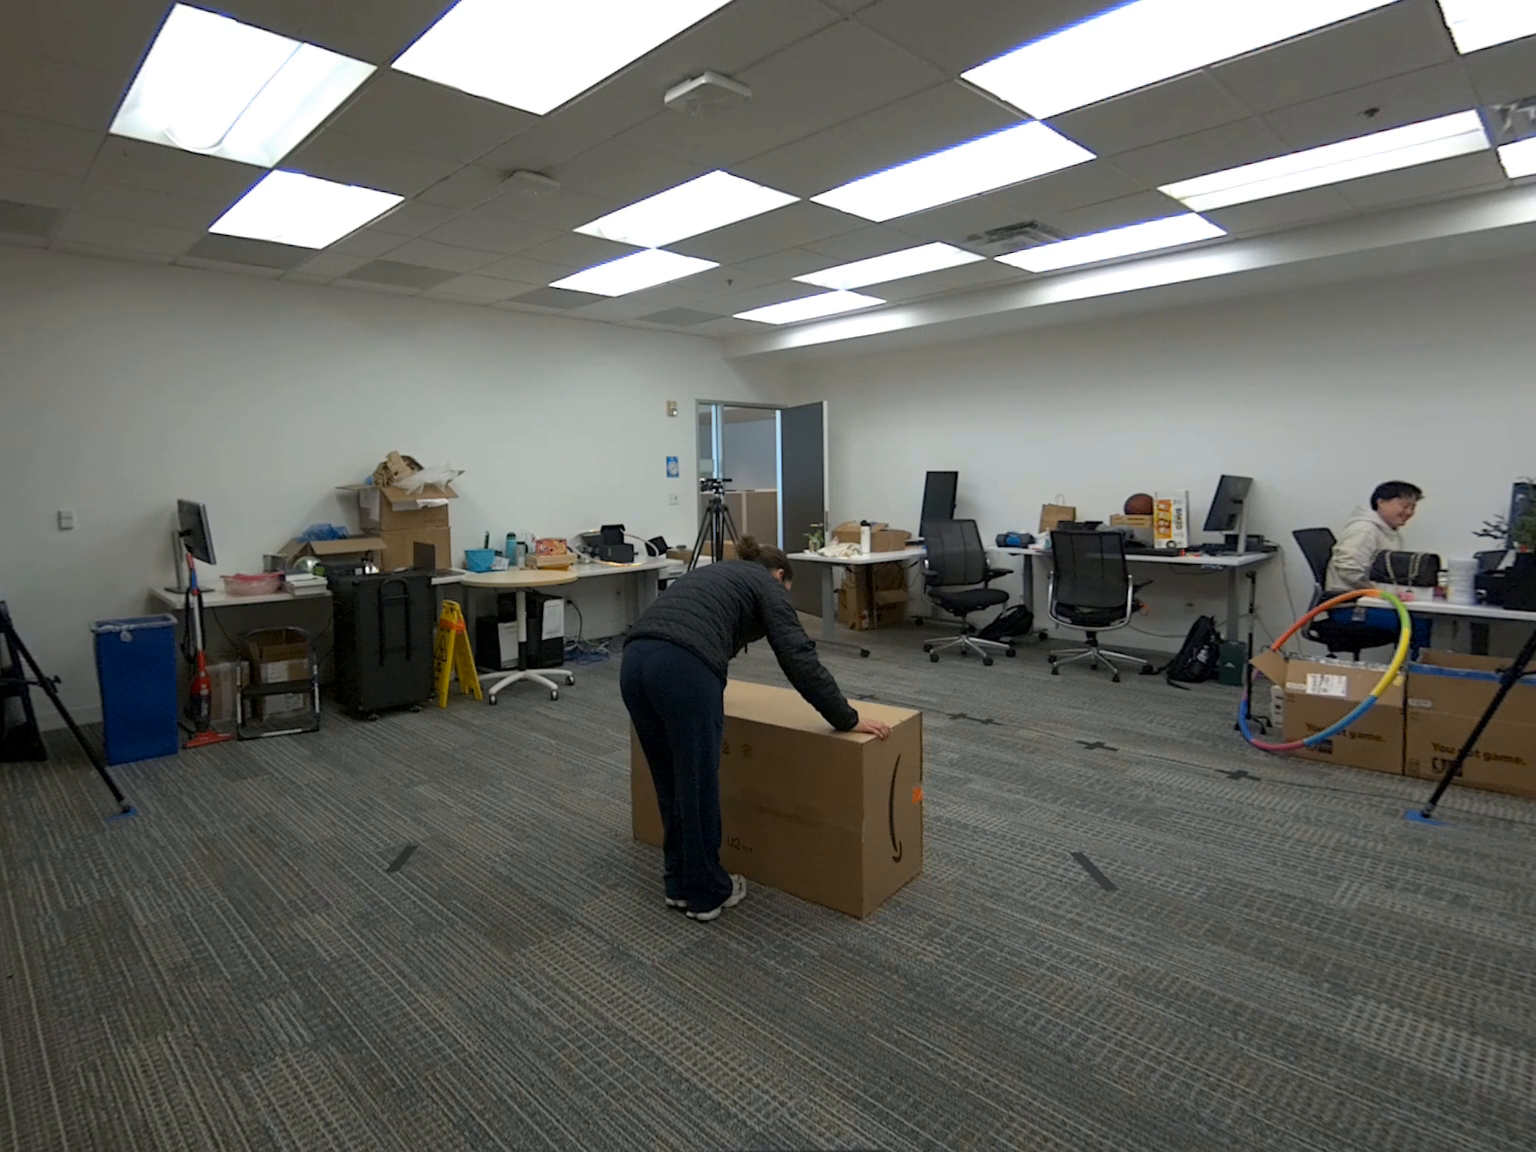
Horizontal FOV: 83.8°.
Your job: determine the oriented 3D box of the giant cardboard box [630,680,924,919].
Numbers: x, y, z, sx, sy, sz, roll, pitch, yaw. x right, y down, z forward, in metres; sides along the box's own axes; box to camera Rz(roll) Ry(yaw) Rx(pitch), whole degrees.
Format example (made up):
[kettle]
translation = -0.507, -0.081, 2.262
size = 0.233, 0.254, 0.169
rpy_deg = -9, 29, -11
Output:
[giant cardboard box]
translation = 0.003, 0.750, 3.174
size = 1.058, 0.581, 0.436
rpy_deg = 4, 8, 38
